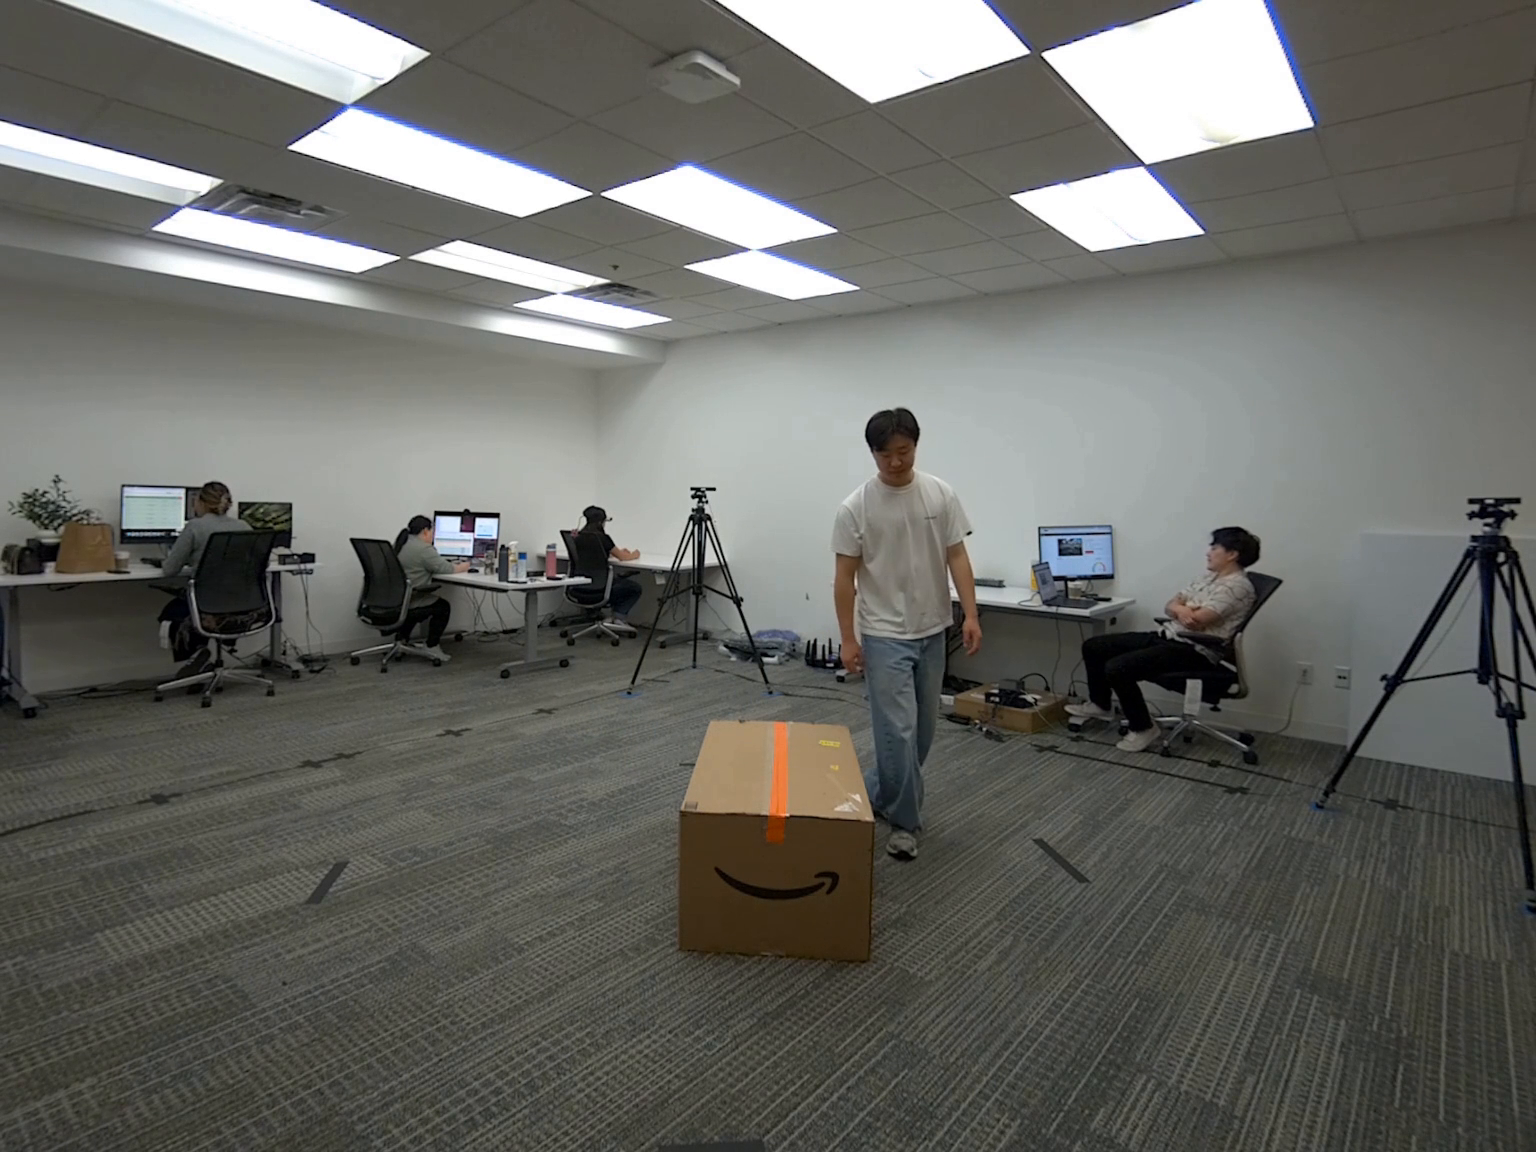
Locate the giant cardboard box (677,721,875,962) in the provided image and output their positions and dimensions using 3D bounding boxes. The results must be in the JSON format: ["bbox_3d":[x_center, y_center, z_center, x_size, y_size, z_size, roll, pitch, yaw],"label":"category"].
[{"bbox_3d":[0.021,0.862,3.017,0.579,0.424,1.027,2,5,1],"label":"giant cardboard box"}]
